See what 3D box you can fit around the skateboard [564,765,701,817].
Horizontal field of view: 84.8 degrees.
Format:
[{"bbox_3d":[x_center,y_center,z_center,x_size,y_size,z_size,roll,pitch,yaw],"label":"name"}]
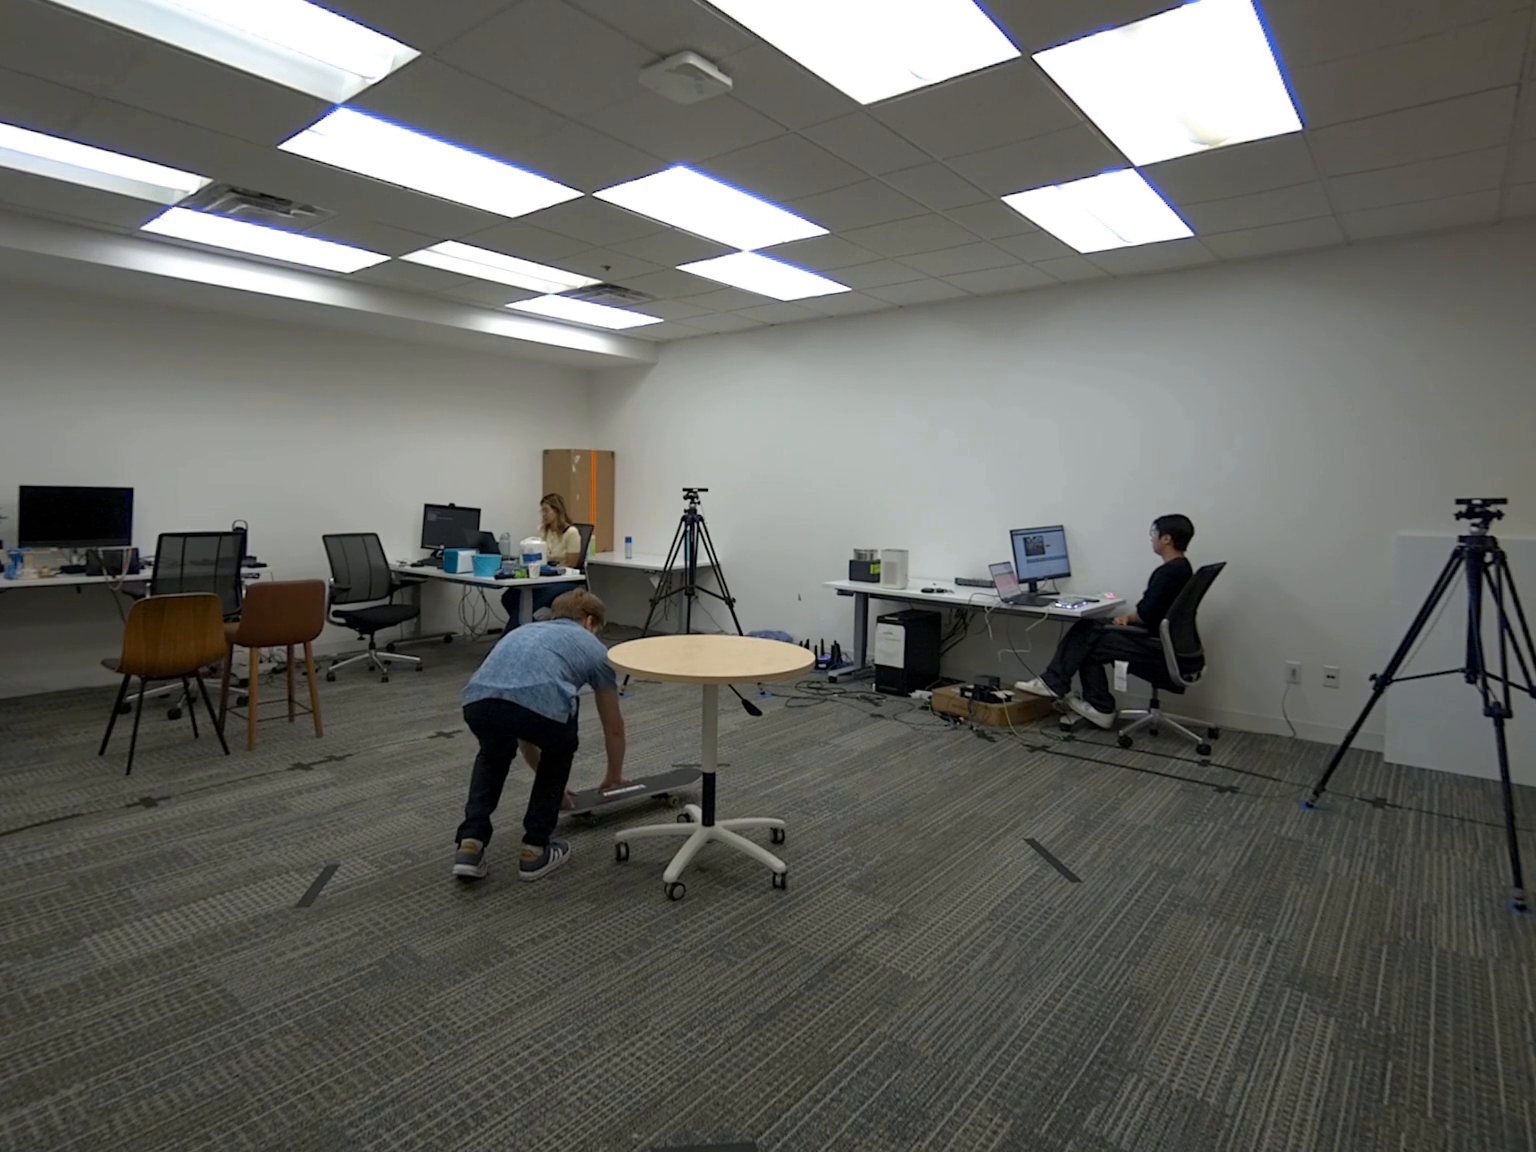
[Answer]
[{"bbox_3d":[-0.629,0.951,3.664,0.763,0.110,0.200,-4,7,-37],"label":"skateboard"}]
